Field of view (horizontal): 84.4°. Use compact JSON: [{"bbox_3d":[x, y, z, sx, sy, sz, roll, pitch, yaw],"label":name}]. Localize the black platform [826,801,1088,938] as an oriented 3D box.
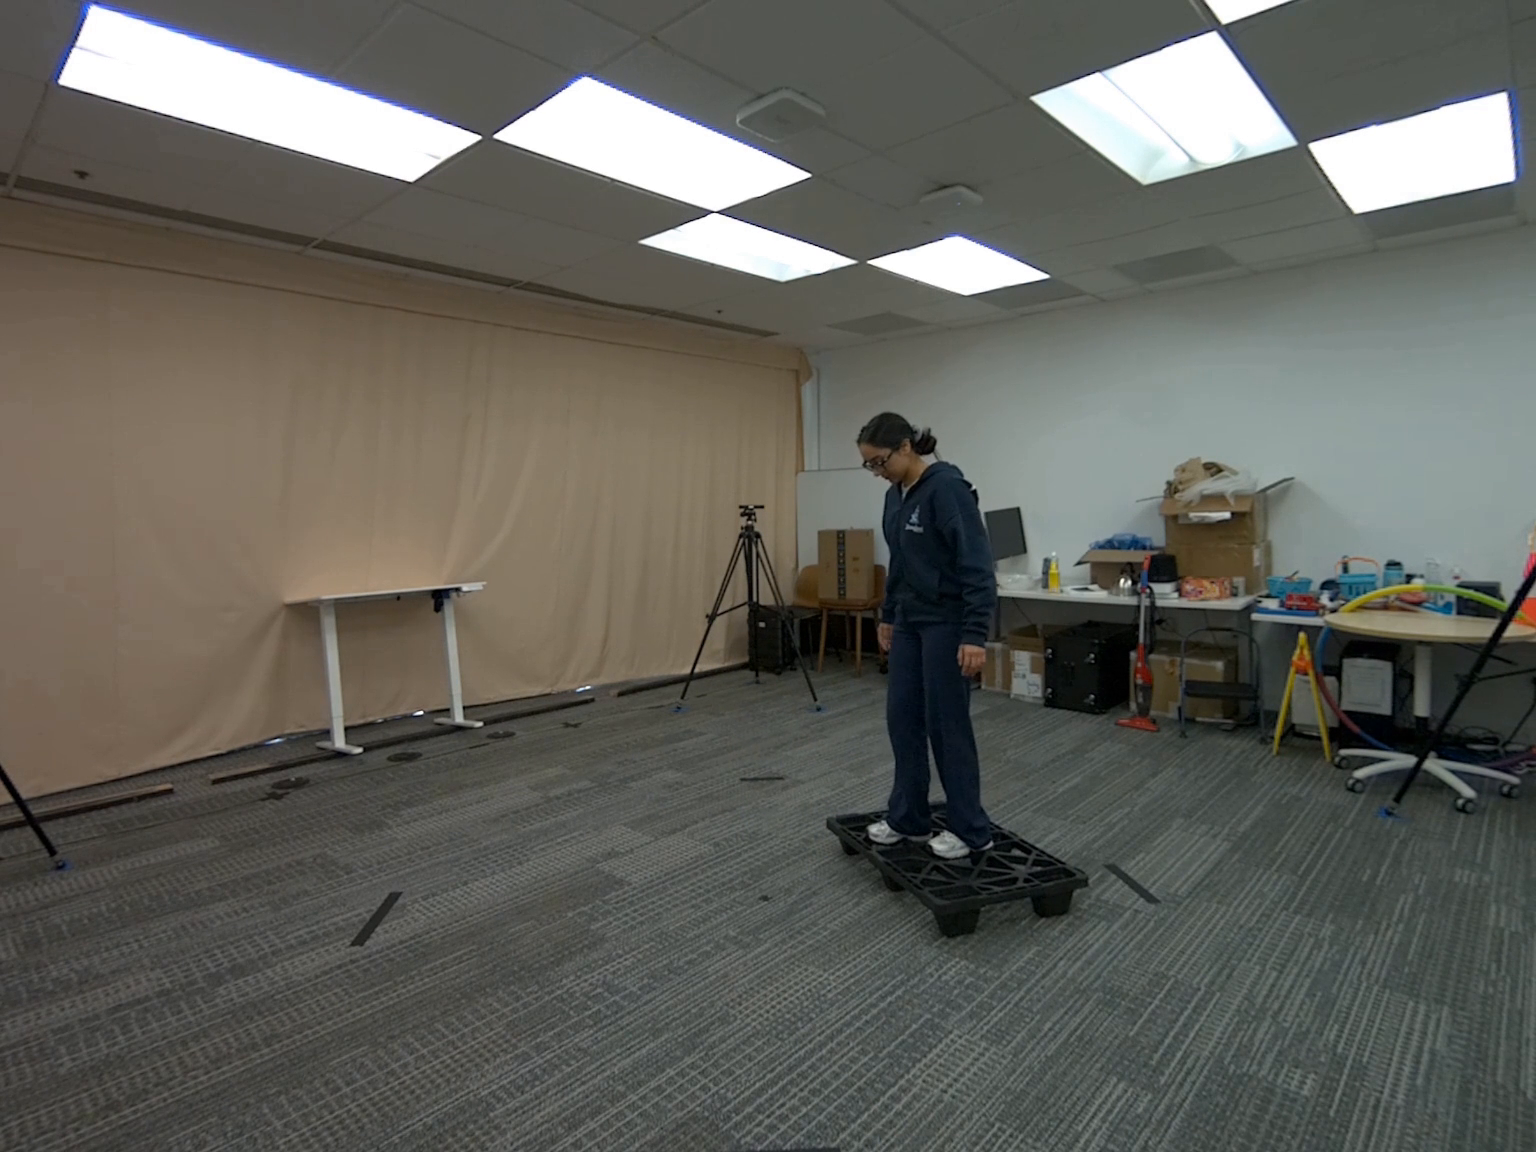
[{"bbox_3d":[0.658,1.051,3.093,0.593,0.143,0.823,-3,5,-20],"label":"black platform"}]
